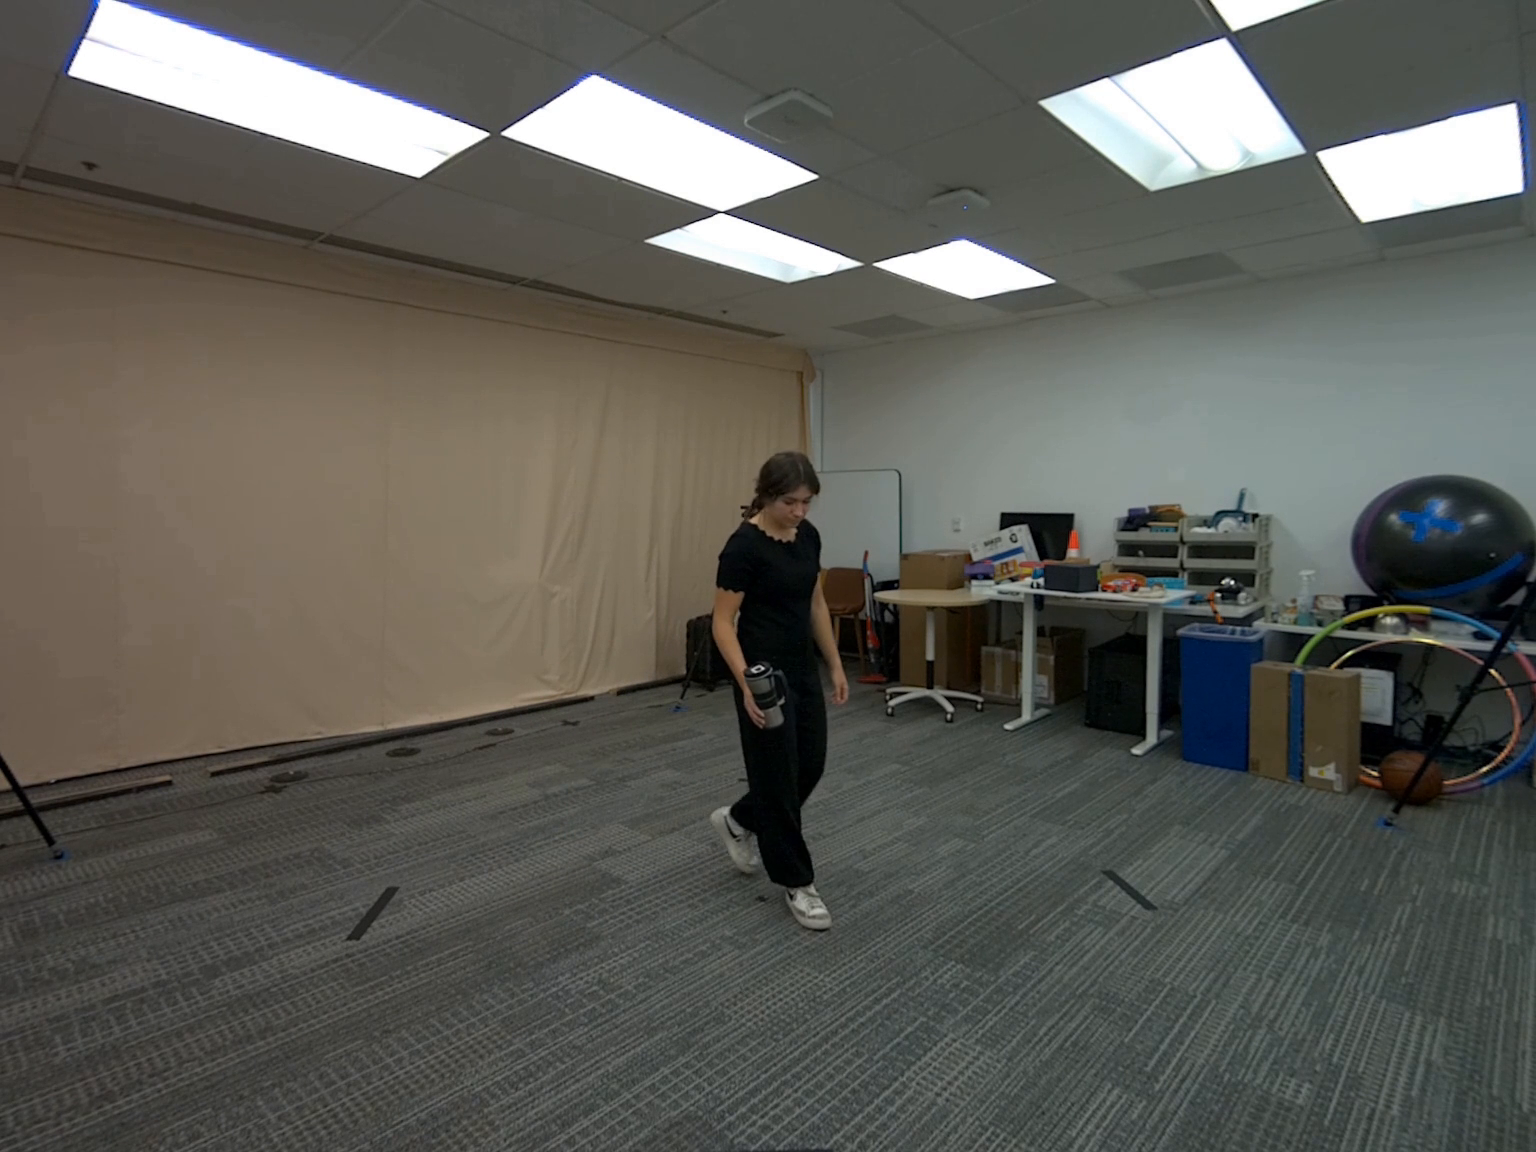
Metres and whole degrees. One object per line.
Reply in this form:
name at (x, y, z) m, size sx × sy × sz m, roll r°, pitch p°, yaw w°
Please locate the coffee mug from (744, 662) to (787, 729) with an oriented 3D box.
coffee mug at (0.004, 0.364, 2.569) m, size 0.126 × 0.201 × 0.086 m, roll -5°, pitch 16°, yaw 41°
